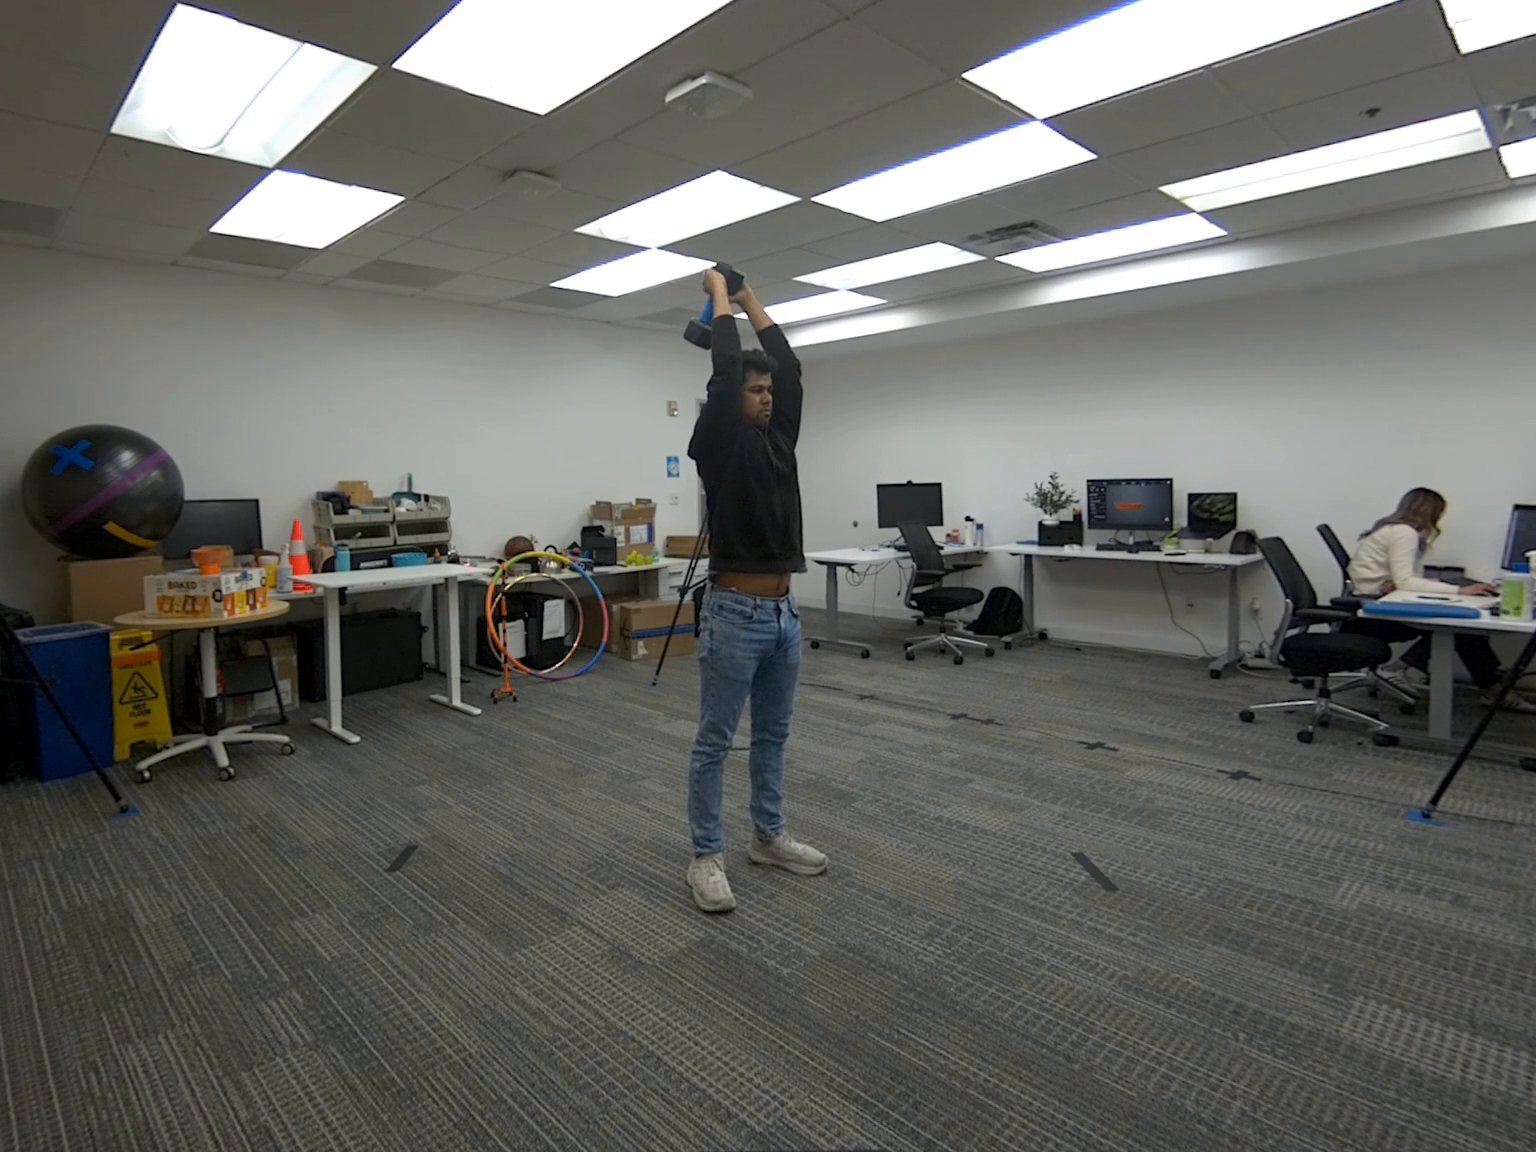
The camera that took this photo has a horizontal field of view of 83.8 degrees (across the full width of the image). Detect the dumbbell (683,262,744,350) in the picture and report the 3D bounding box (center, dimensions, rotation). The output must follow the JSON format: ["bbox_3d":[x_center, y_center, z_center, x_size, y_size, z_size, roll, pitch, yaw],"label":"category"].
[{"bbox_3d":[-0.183,-0.931,2.965,0.119,0.292,0.113,18,19,-35],"label":"dumbbell"}]
